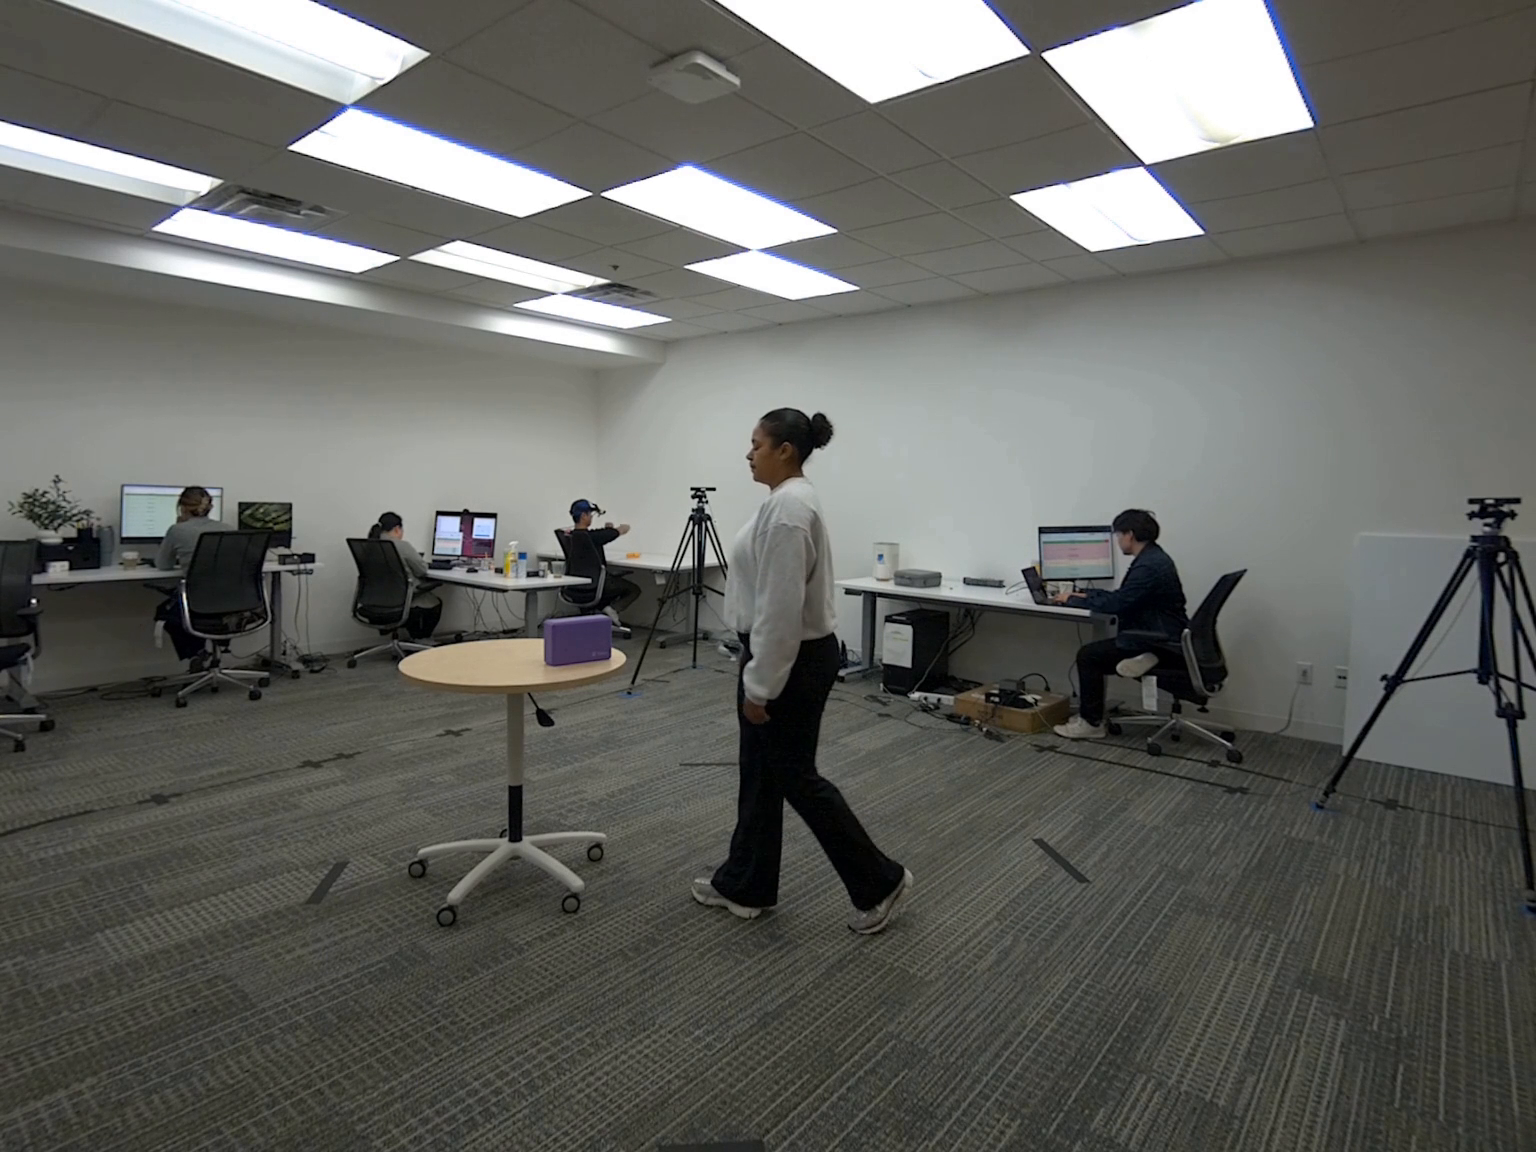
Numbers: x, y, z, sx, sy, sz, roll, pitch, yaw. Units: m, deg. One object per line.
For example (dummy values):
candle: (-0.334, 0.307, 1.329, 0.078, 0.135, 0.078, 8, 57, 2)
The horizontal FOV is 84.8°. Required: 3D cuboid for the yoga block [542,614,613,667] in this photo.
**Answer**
yoga block: (-0.668, 0.218, 2.937, 0.223, 0.148, 0.079, -3, 6, -38)
